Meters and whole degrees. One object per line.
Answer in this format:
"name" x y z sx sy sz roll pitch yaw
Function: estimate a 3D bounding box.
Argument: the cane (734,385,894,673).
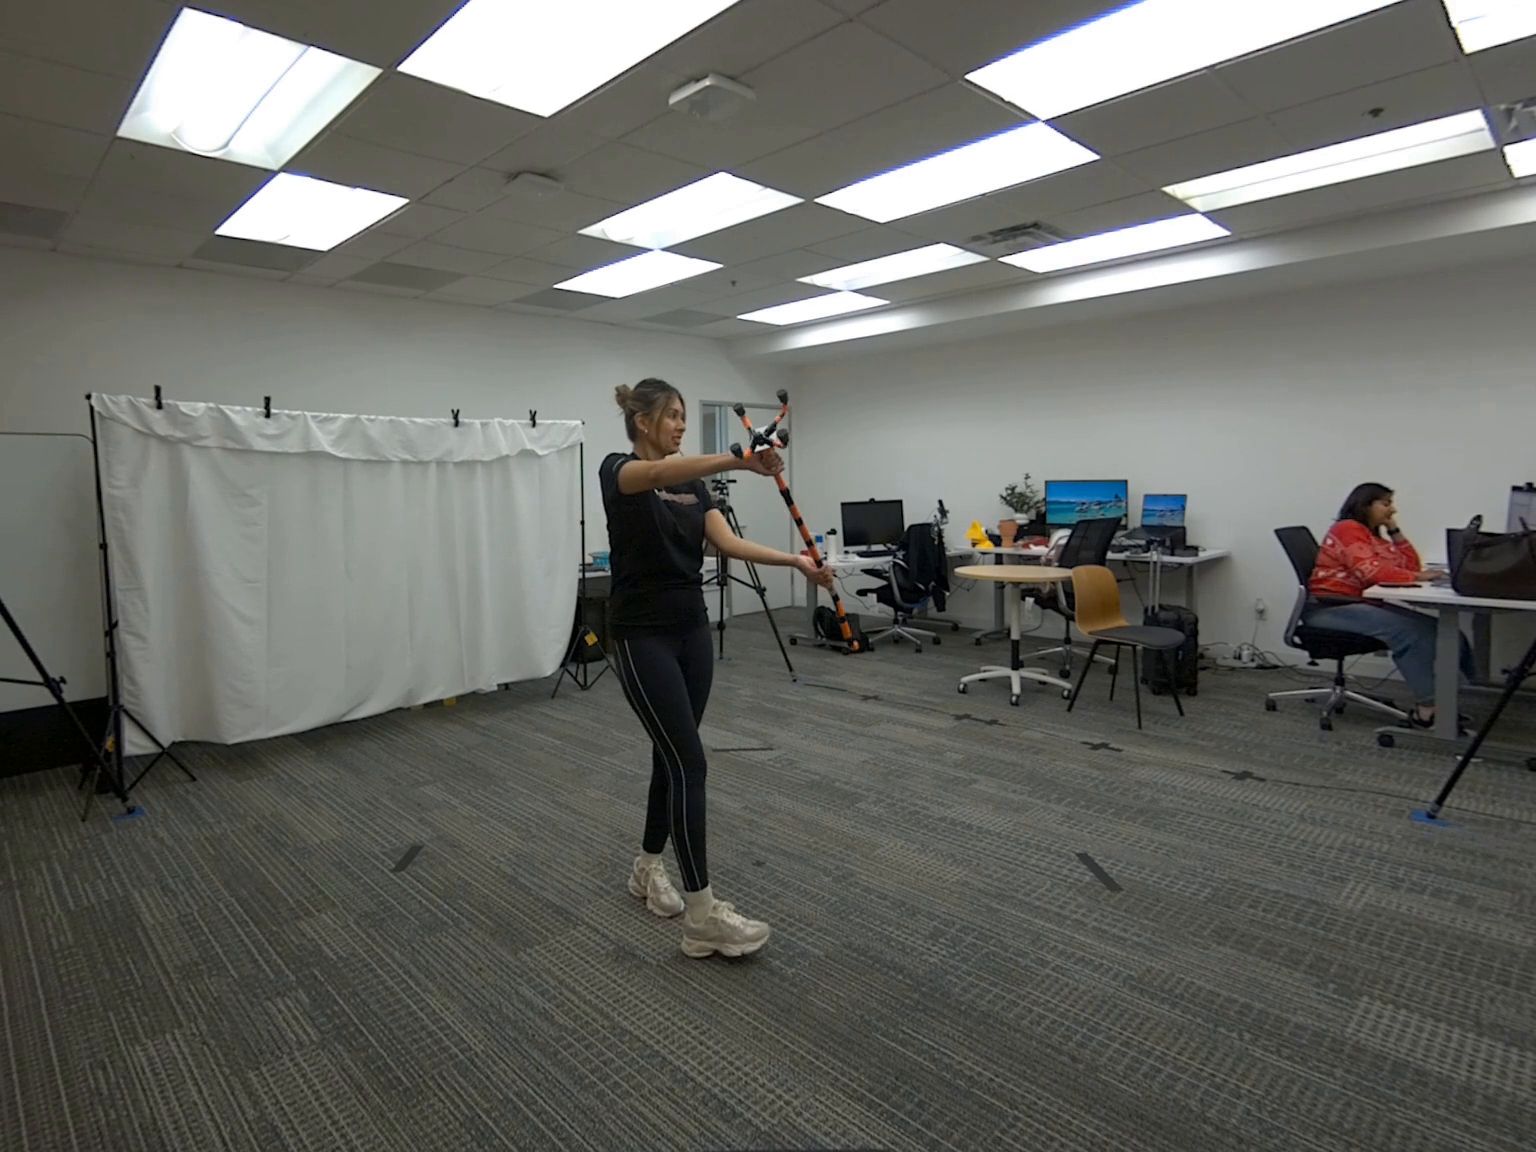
"cane" 0.147 -0.099 2.428 0.153 0.875 0.212 -16 40 15
